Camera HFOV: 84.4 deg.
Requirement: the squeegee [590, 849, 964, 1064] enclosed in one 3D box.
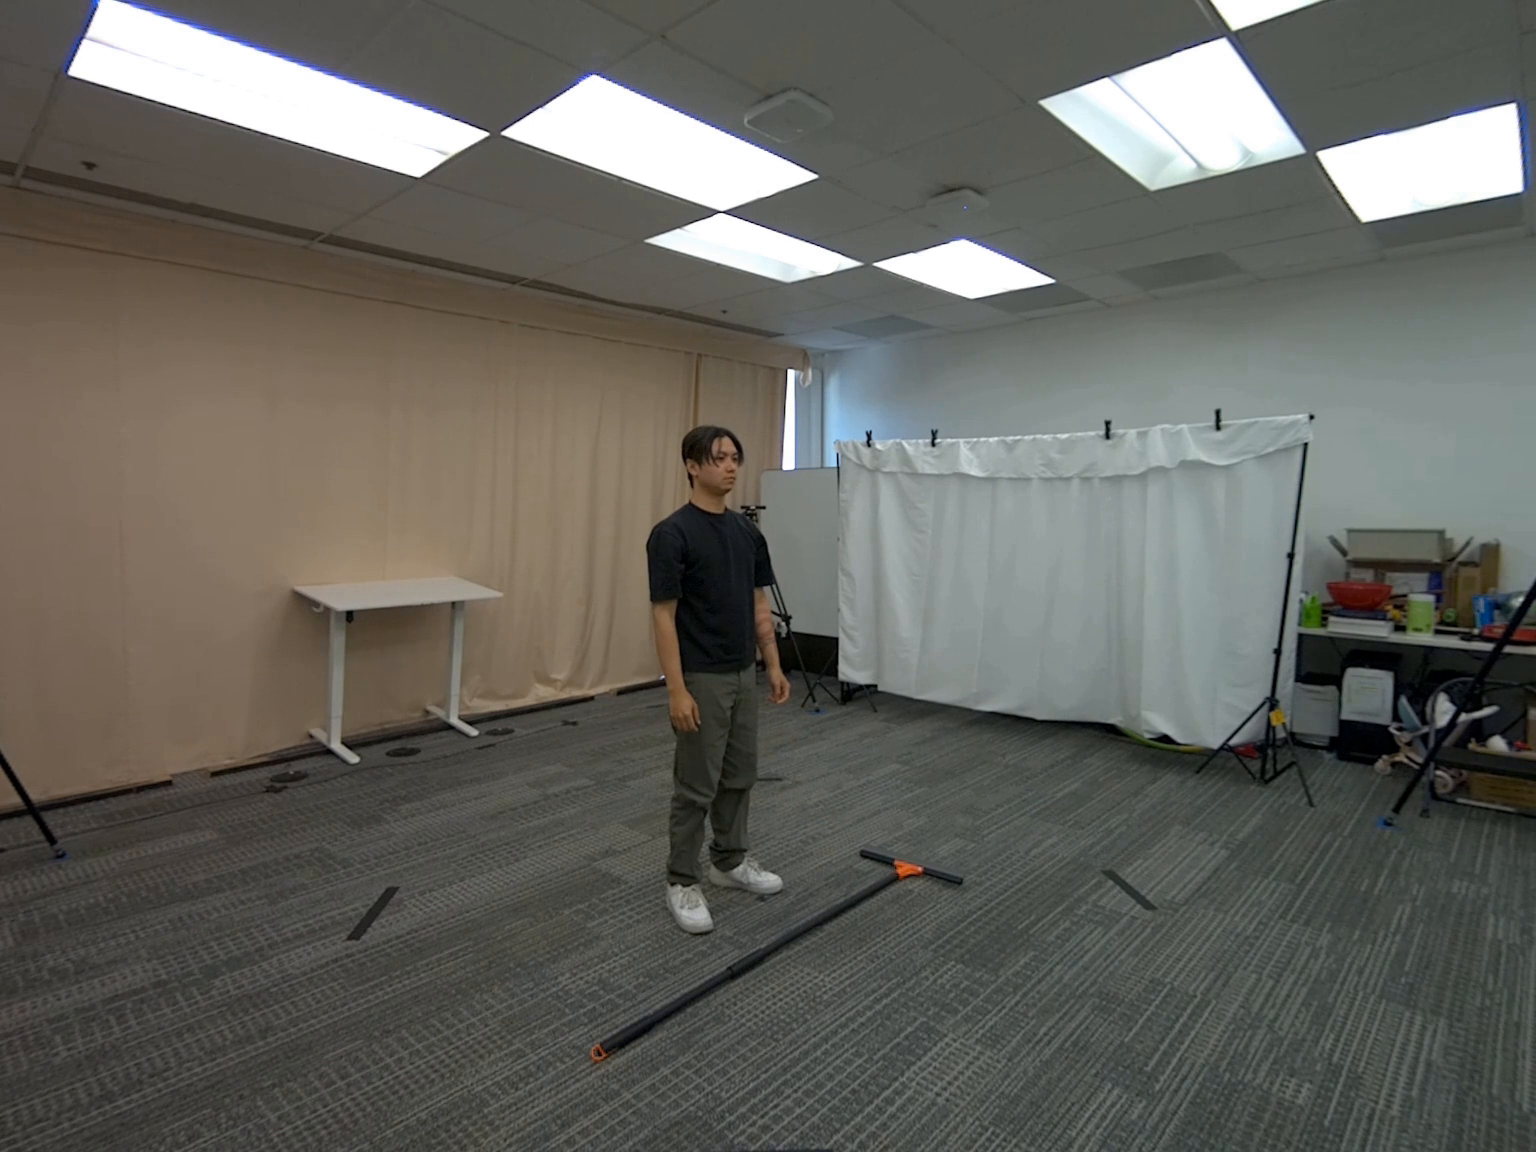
[{"bbox_3d":[0.058,1.131,2.671,0.452,0.053,1.491,2,5,43],"label":"squeegee"}]
